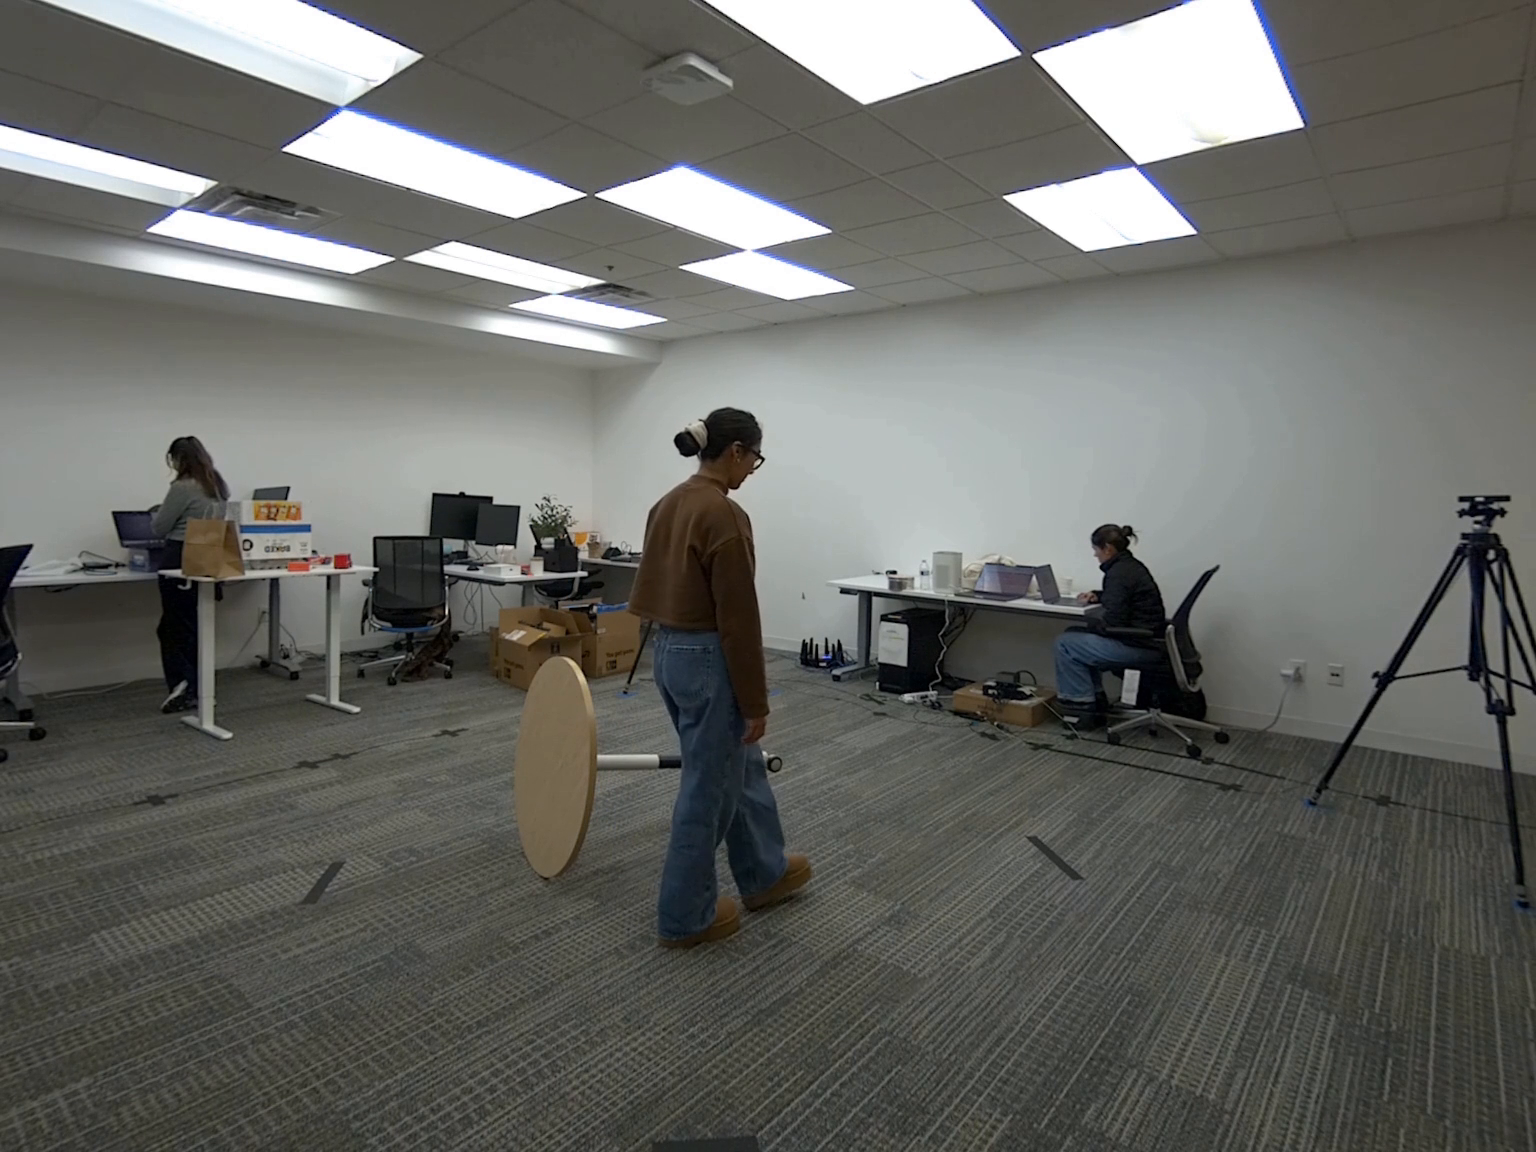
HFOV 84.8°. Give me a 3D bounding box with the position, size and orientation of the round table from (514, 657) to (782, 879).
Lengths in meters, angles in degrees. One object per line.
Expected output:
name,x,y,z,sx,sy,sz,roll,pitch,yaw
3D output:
round table,-0.482,0.711,3.277,0.769,0.764,0.788,8,0,-32
